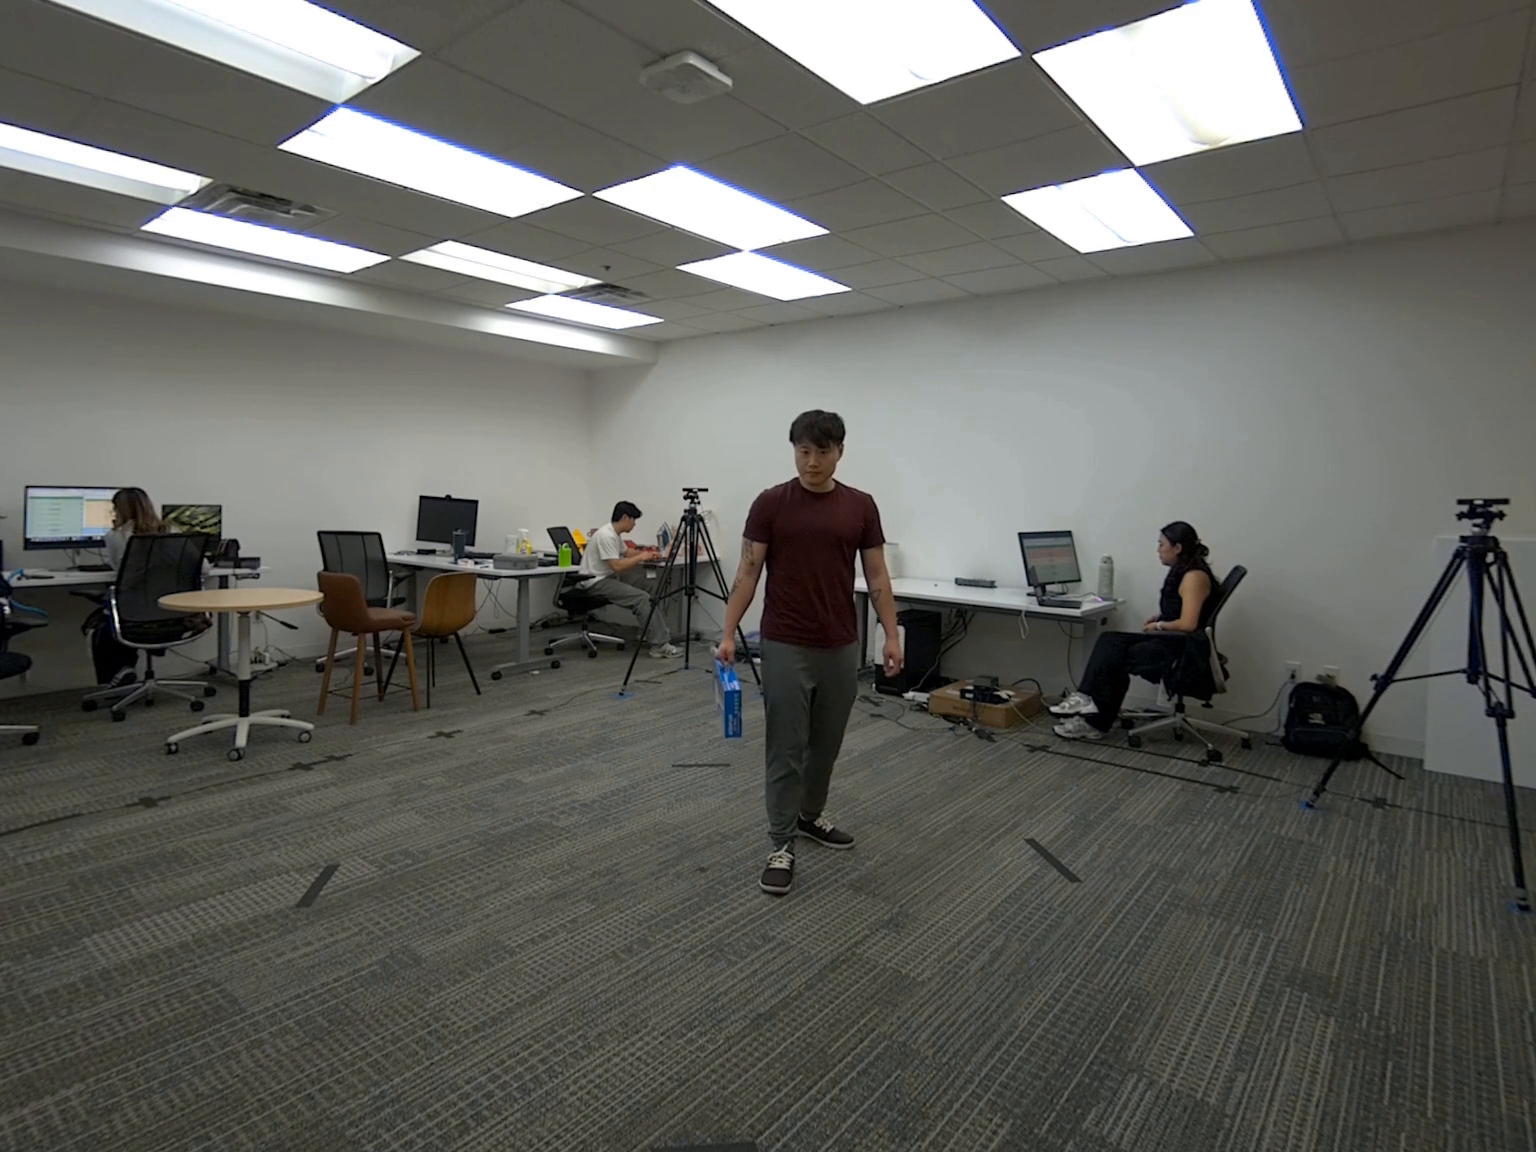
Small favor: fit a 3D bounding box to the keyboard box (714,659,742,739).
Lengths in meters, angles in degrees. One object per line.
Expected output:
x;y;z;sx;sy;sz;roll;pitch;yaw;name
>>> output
-0.164;0.410;3.079;0.058;0.174;0.445;-1;12;-10;keyboard box
